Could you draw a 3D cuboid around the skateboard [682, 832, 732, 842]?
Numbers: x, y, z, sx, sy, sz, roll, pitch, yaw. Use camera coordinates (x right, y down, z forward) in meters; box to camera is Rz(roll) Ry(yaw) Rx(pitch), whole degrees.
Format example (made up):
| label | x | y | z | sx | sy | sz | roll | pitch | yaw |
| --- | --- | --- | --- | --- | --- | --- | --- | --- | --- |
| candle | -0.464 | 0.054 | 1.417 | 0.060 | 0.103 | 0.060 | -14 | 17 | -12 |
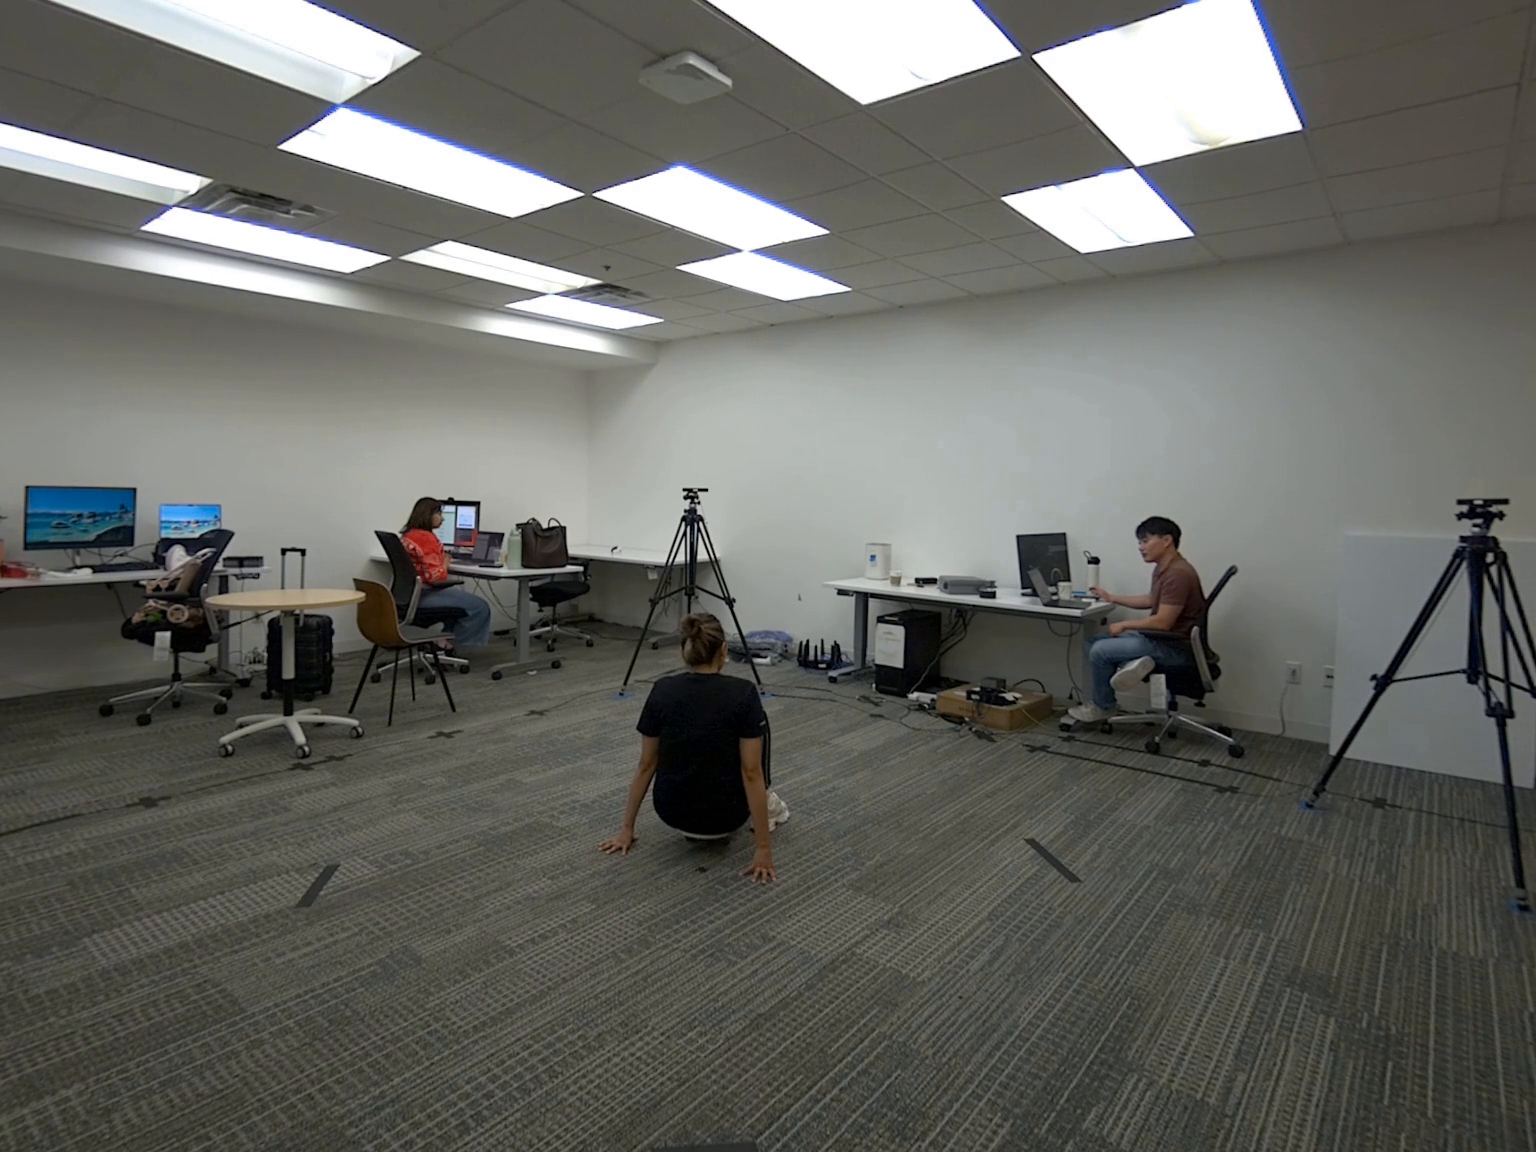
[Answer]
| label | x | y | z | sx | sy | sz | roll | pitch | yaw |
| --- | --- | --- | --- | --- | --- | --- | --- | --- | --- |
| skateboard | -0.218 | 0.962 | 3.546 | 0.195 | 0.110 | 0.782 | 1 | 7 | 8 |
